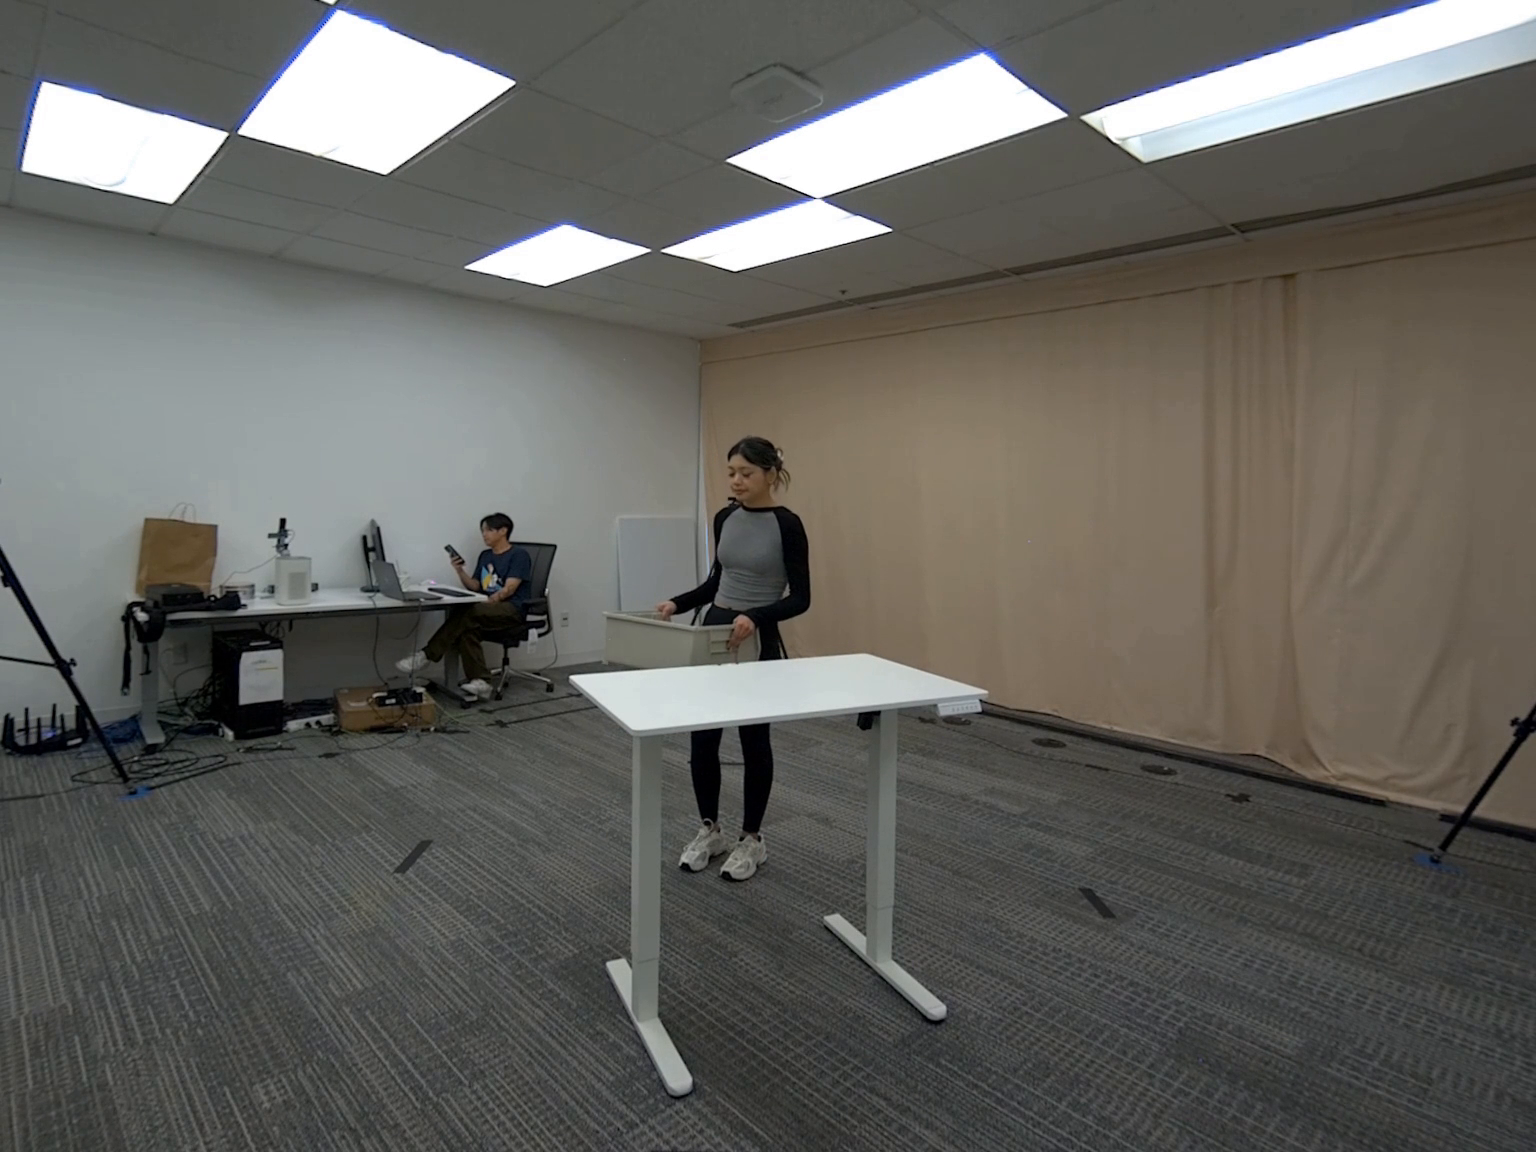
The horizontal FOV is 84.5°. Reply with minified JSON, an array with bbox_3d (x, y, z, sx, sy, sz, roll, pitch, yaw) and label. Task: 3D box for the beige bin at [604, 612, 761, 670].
[{"bbox_3d":[-0.310,0.231,2.925,0.433,0.188,0.369,8,6,36],"label":"beige bin"}]
